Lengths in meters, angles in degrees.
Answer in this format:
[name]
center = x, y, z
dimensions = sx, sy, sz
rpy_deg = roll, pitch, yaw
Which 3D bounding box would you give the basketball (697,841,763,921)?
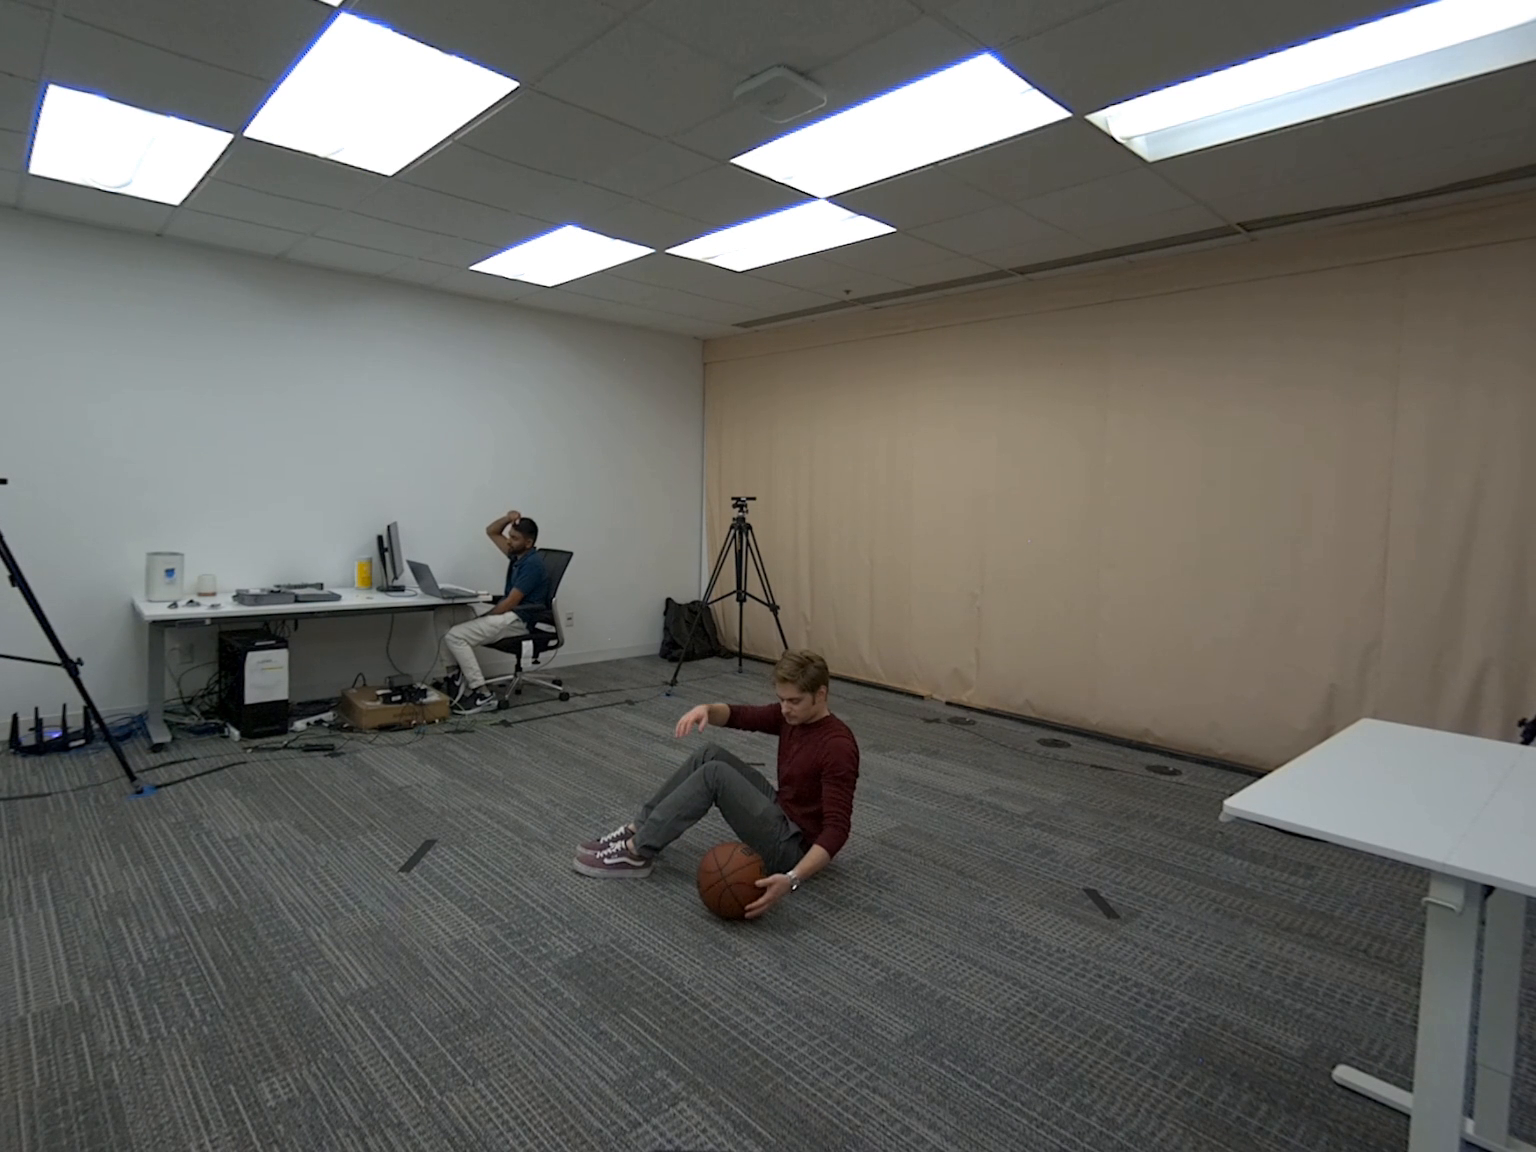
[basketball]
center = -0.137, 1.012, 2.809
dimensions = 0.236, 0.235, 0.237
rpy_deg = 1, 4, -1
